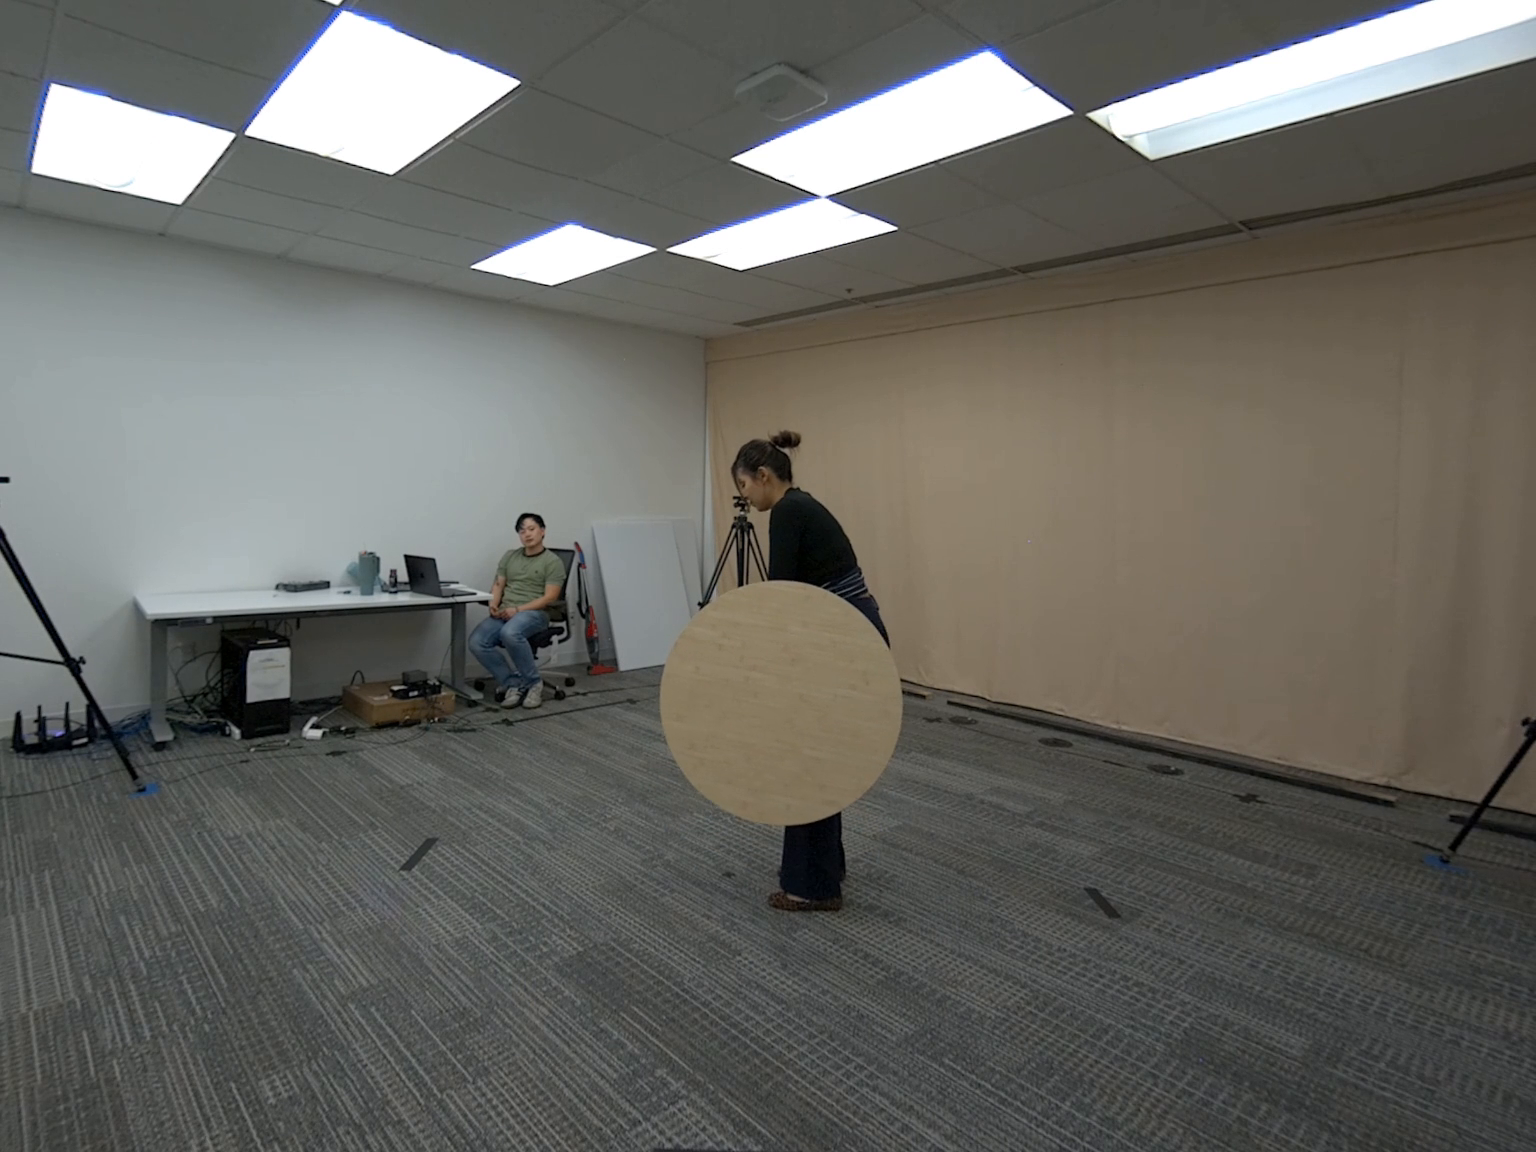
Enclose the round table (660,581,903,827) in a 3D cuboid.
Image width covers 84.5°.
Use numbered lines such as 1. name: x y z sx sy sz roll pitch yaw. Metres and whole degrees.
1. round table: 0.052 0.405 3.048 0.767 0.765 0.789 2 -1 4
